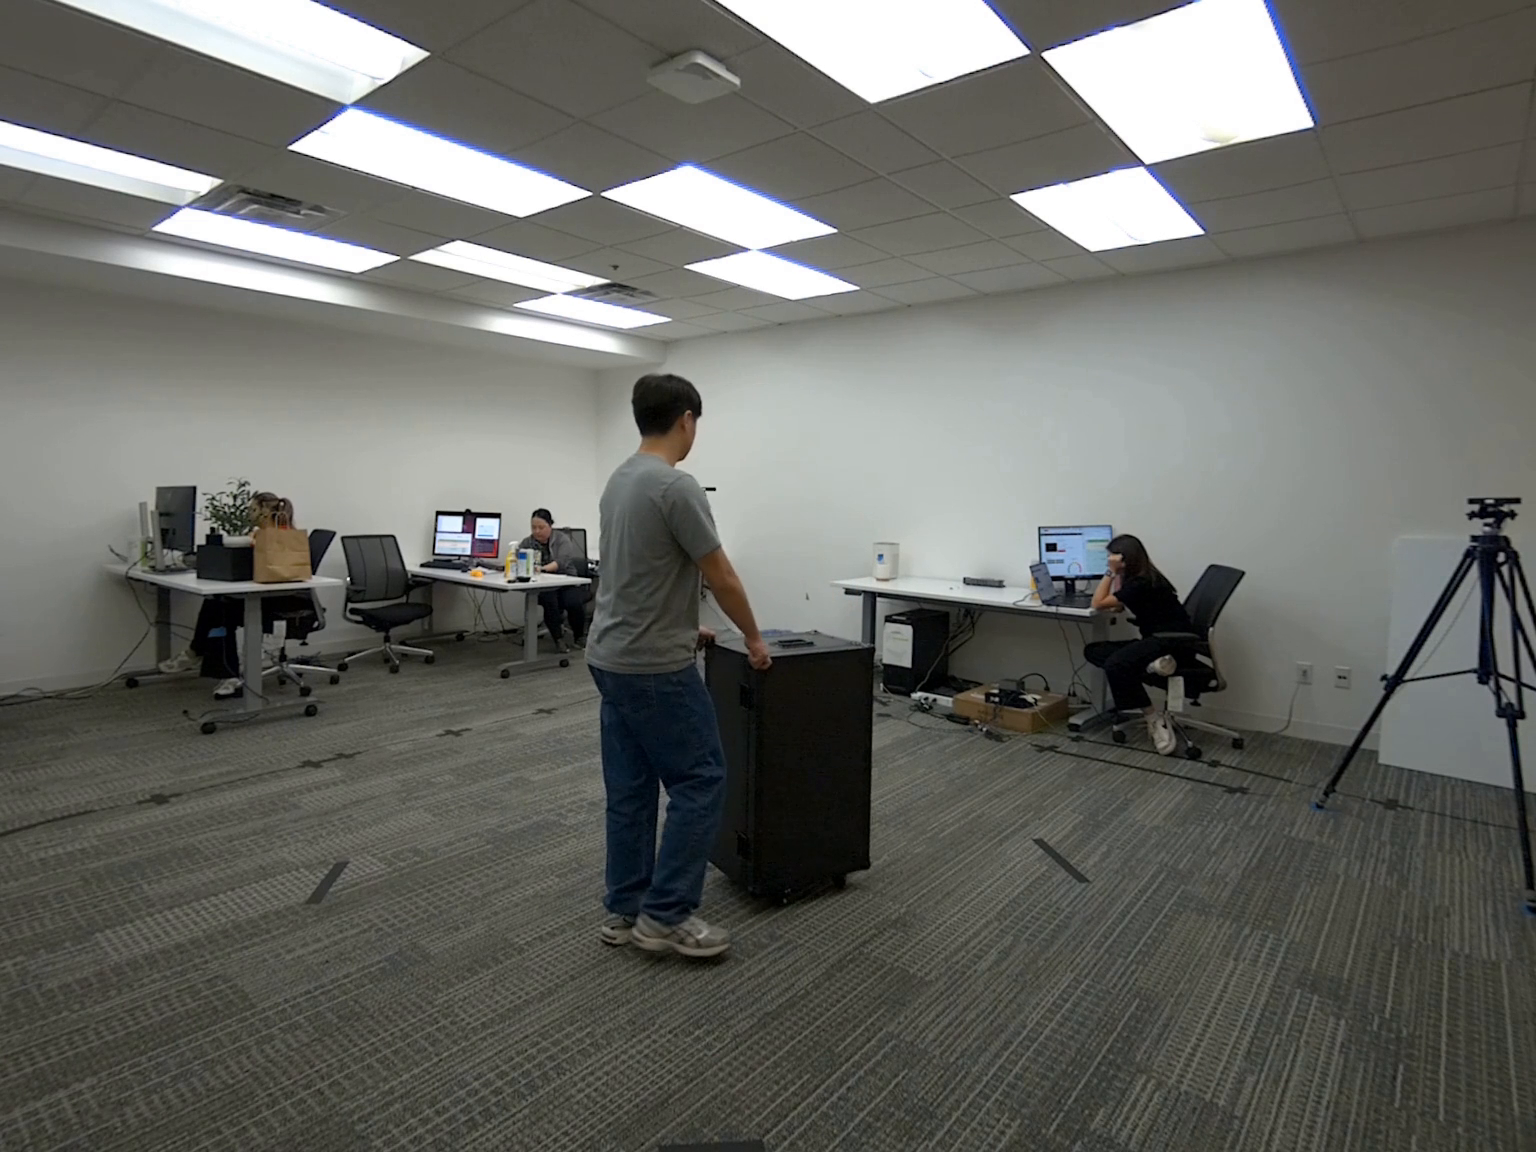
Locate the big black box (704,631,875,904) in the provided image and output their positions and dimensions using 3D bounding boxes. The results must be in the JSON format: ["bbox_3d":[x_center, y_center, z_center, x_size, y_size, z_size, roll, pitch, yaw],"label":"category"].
[{"bbox_3d":[0.047,0.654,3.002,0.507,0.859,0.408,-1,3,-30],"label":"big black box"}]
